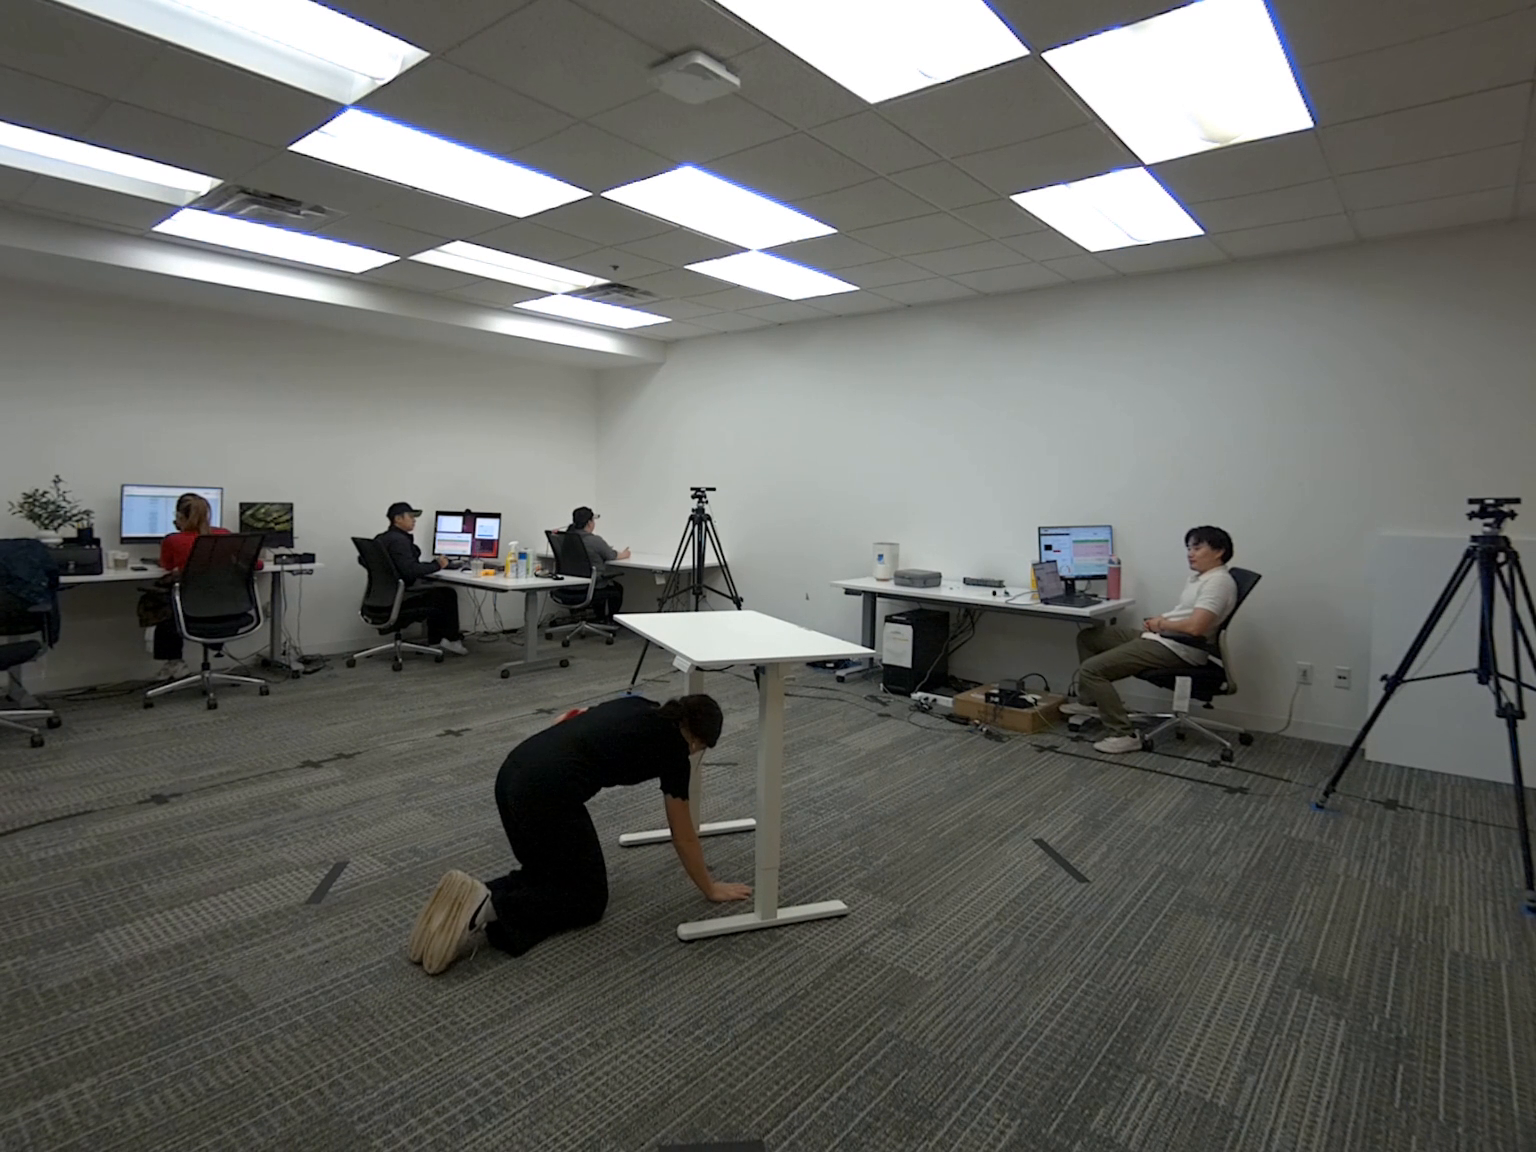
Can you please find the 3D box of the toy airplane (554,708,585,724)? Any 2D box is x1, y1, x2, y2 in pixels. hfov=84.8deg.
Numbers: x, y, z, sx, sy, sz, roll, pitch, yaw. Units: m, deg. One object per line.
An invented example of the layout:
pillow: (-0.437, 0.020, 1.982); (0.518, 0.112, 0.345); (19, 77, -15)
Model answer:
toy airplane: (-0.653, 0.582, 2.987); (0.254, 0.252, 0.159); (-11, -3, -26)
